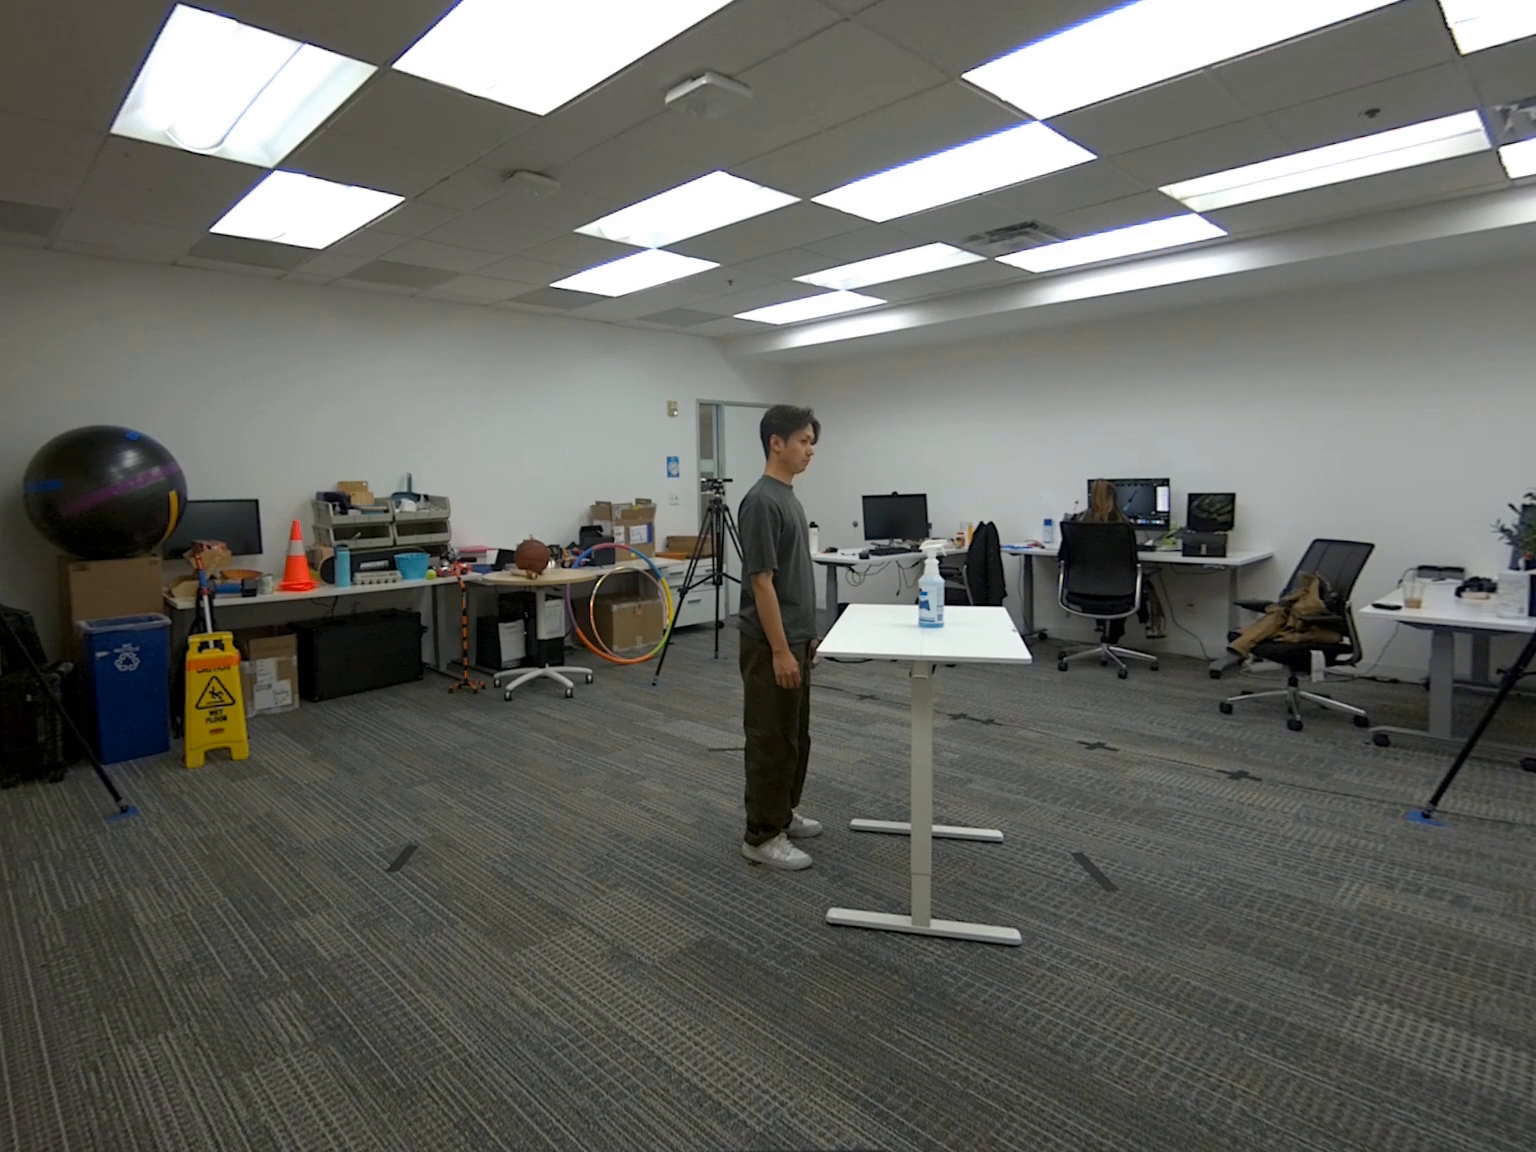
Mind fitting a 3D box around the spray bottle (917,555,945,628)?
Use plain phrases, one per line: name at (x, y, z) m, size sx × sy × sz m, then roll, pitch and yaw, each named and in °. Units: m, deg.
spray bottle at (0.558, 0.025, 2.923) m, size 0.092 × 0.297 × 0.085 m, roll 2°, pitch 3°, yaw 26°
